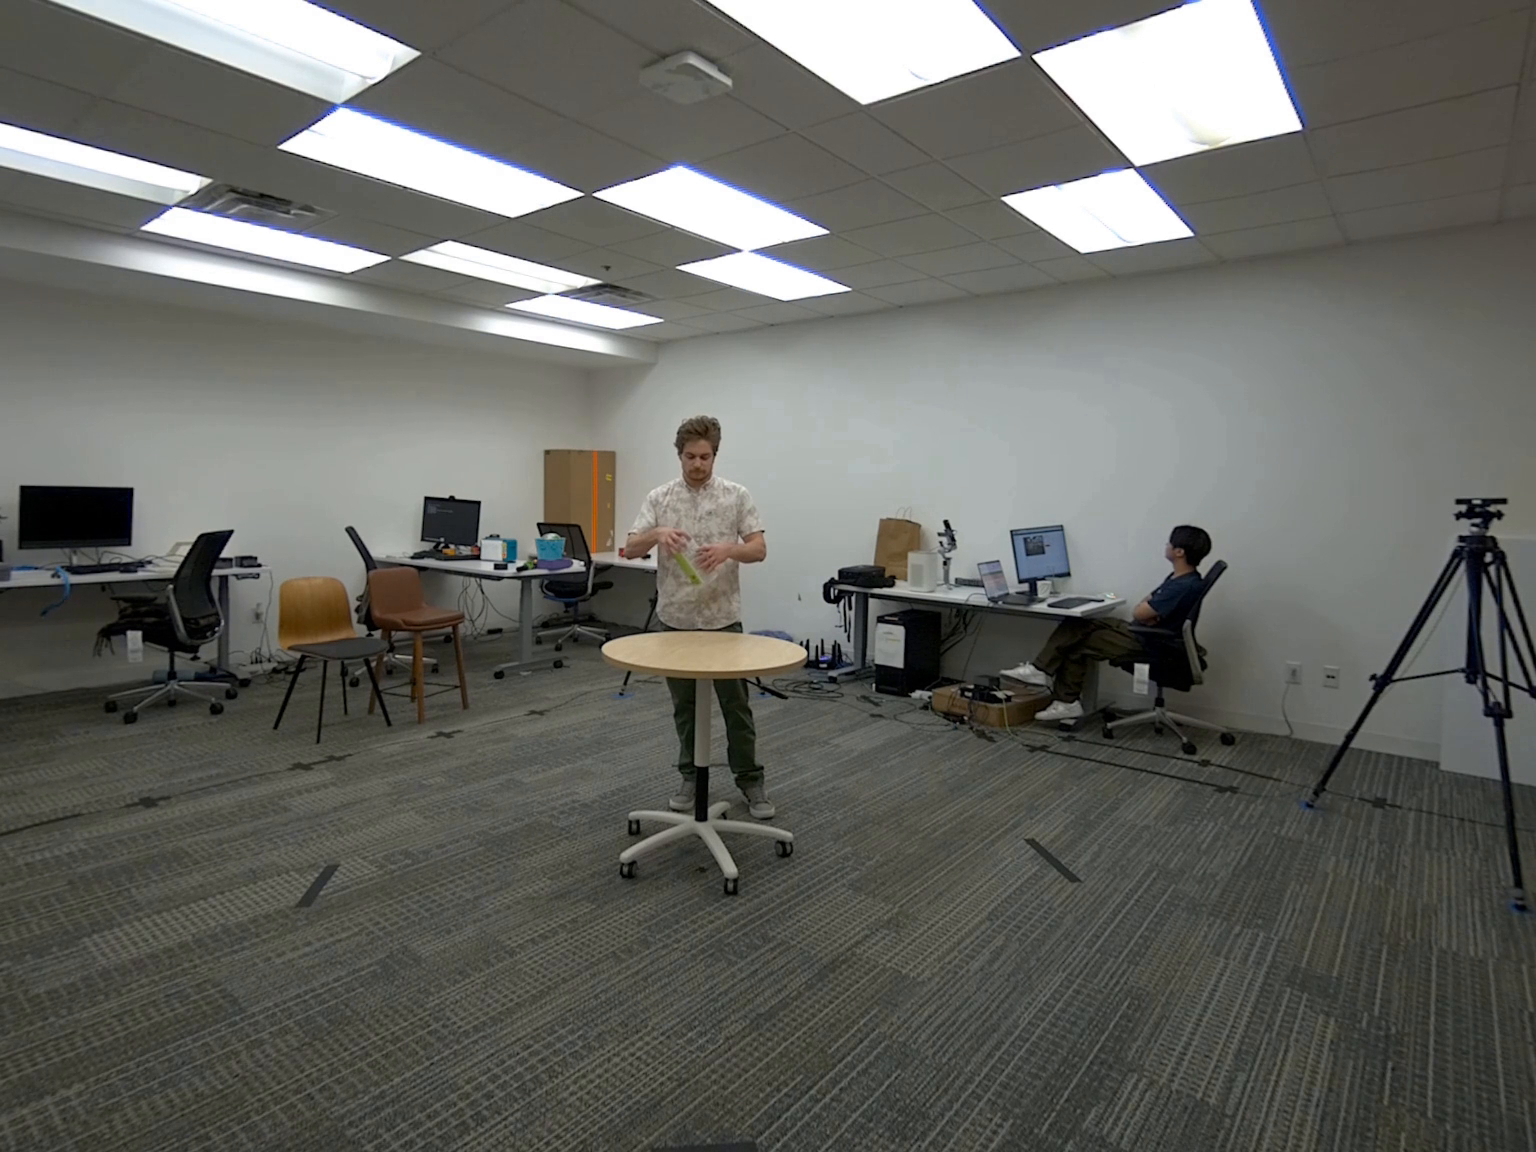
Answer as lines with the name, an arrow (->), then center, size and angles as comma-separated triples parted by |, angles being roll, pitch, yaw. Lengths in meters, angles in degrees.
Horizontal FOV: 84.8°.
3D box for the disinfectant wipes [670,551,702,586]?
disinfectant wipes -> -0.301, -0.064, 3.510 | 0.118, 0.213, 0.119 | -29, 14, 7
